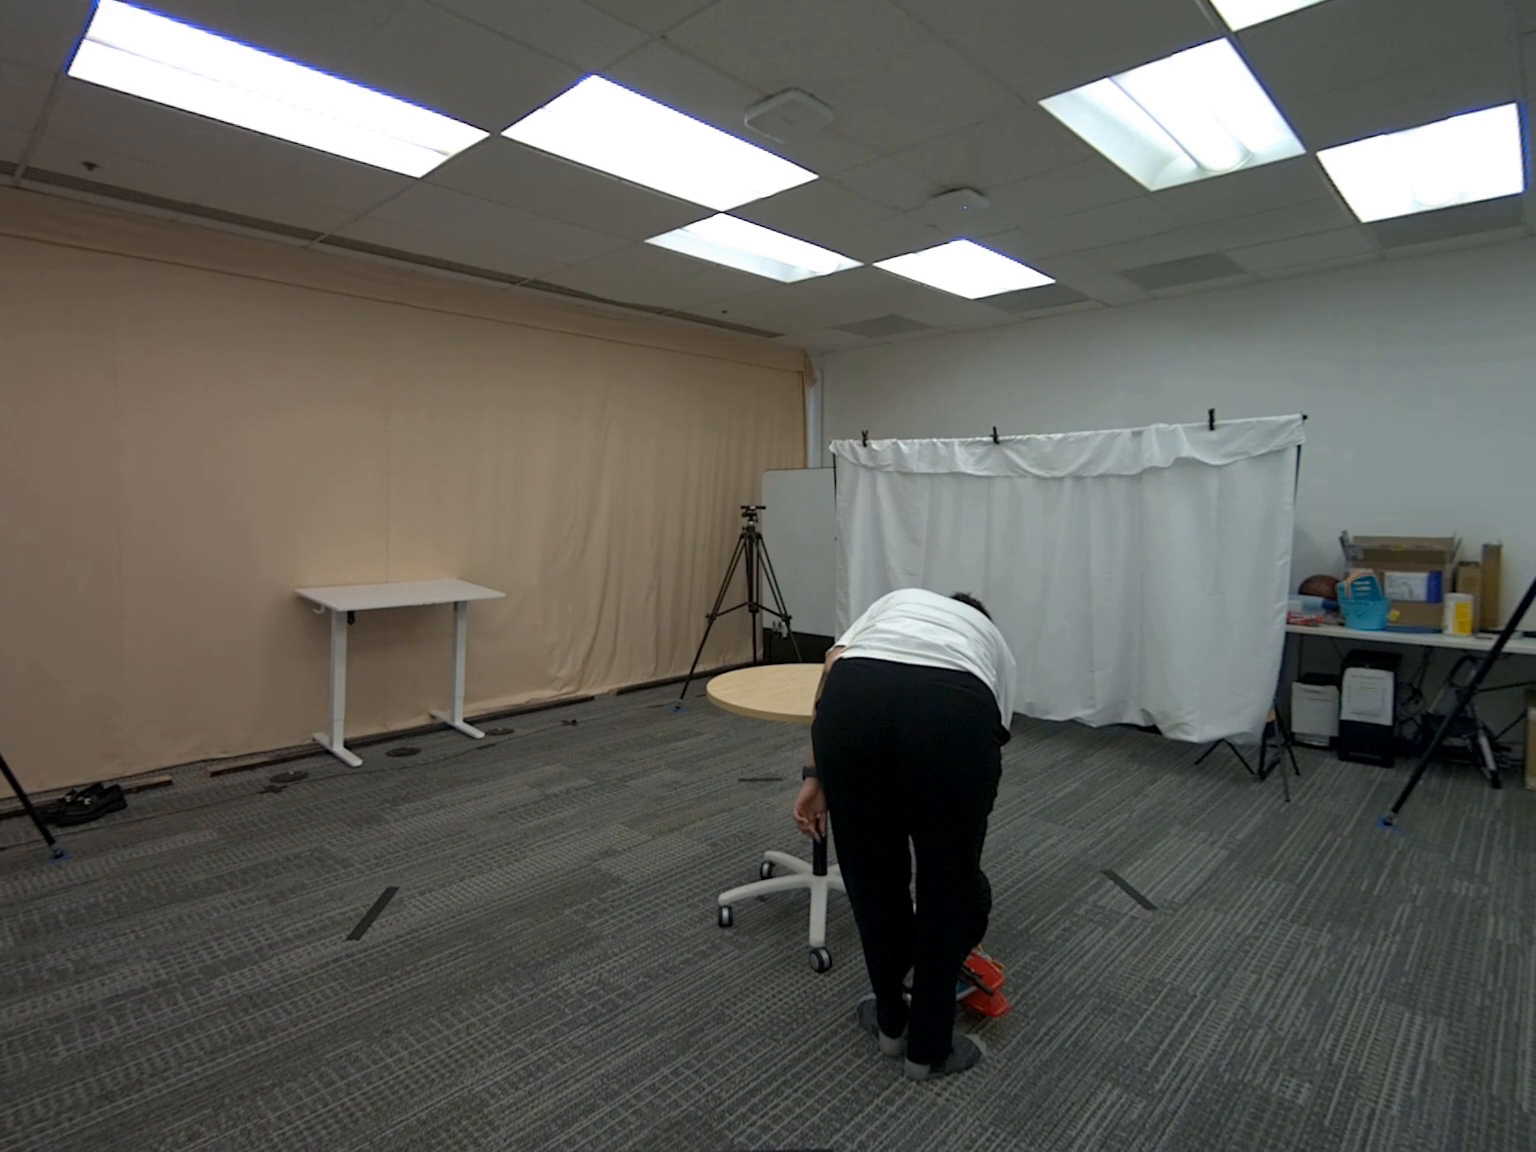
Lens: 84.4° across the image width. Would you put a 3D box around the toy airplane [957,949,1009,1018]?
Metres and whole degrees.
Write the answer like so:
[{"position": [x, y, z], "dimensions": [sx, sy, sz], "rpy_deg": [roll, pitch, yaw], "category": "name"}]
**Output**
[{"position": [0.536, 1.129, 2.280], "dimensions": [0.259, 0.156, 0.252], "rpy_deg": [5, 4, 33], "category": "toy airplane"}]
